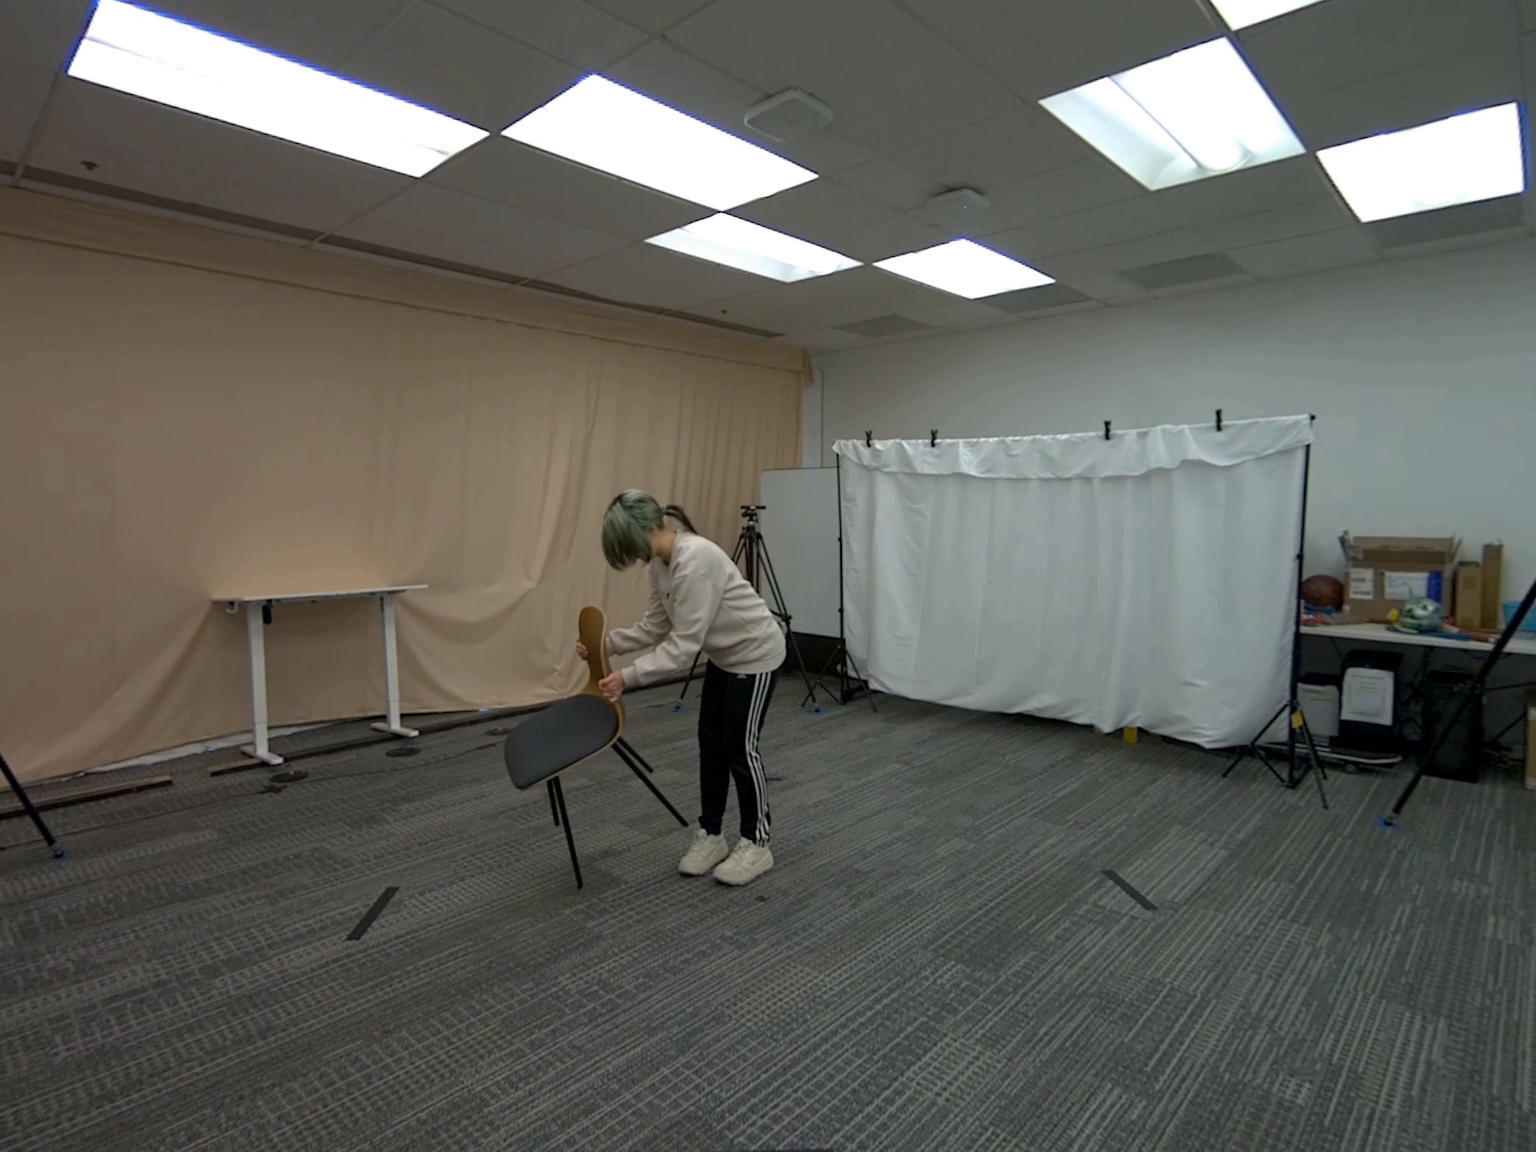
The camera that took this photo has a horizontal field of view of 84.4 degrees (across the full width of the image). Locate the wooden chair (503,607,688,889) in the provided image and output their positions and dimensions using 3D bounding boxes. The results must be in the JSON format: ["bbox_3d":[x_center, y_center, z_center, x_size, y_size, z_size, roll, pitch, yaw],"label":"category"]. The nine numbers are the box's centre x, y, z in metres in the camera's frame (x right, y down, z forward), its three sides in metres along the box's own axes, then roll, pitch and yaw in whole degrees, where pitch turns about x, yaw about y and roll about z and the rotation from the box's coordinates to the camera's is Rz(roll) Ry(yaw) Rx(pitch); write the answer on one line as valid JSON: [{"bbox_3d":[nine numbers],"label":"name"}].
[{"bbox_3d":[-0.717,0.621,3.145,0.517,0.862,0.492,-22,21,-17],"label":"wooden chair"}]
